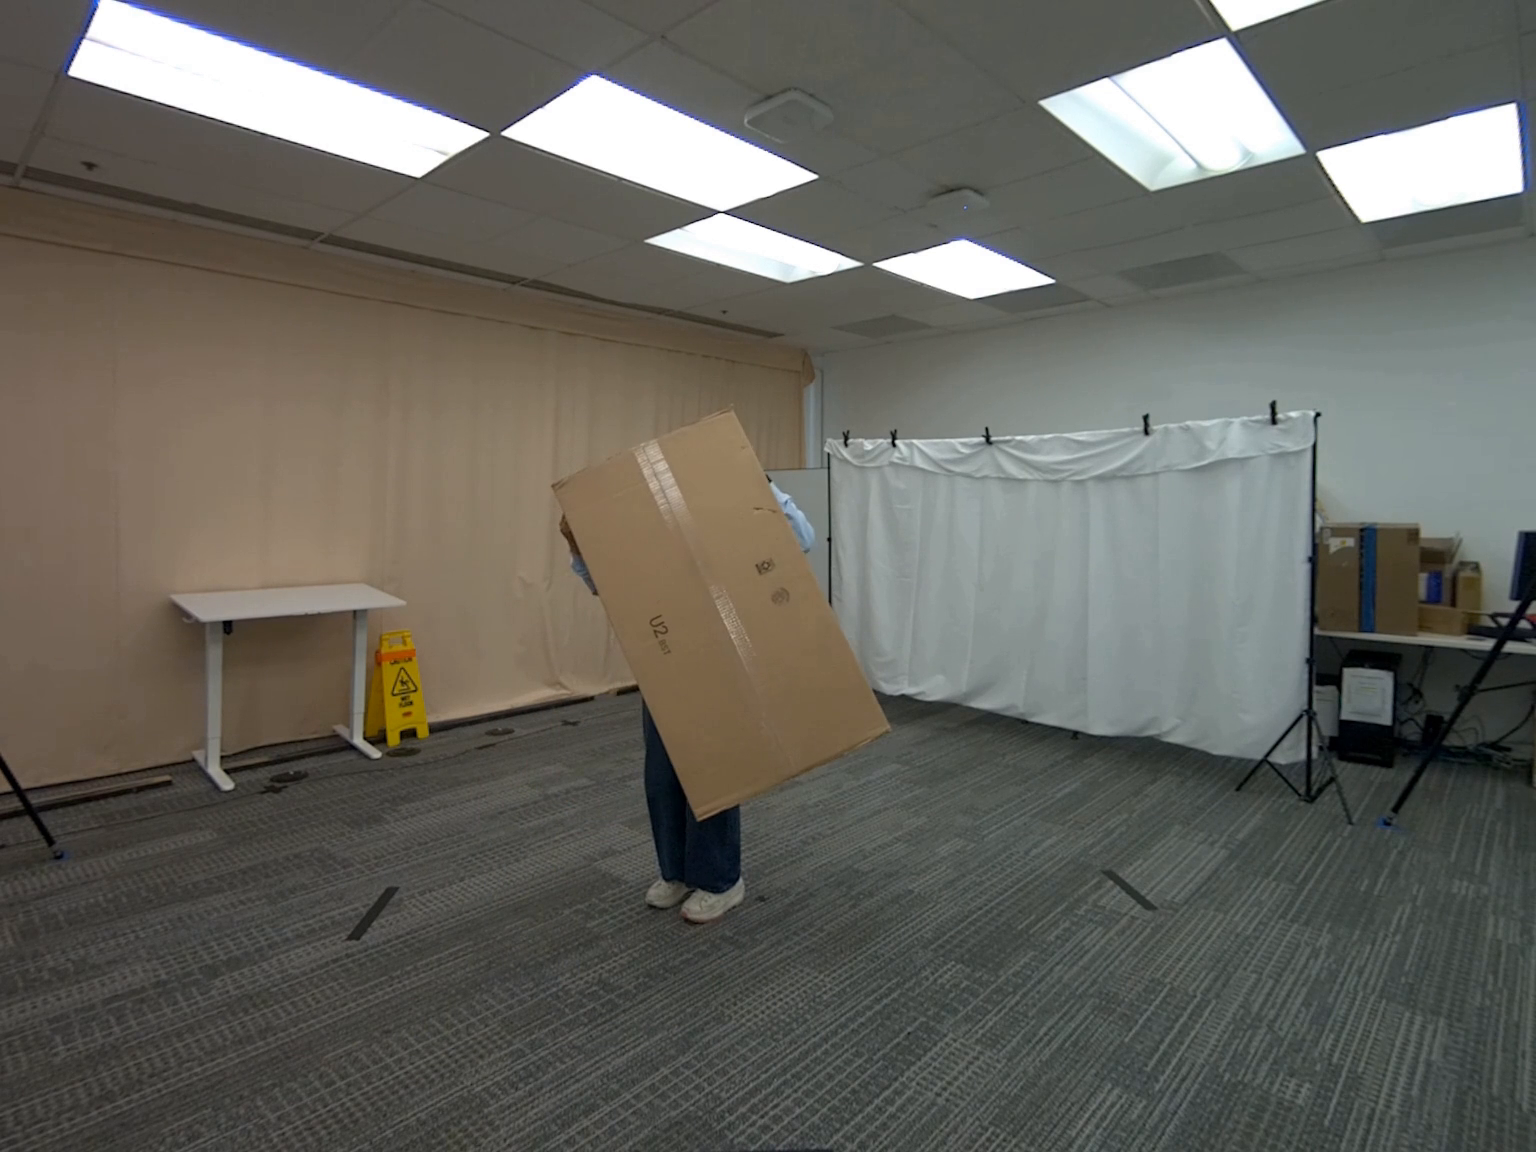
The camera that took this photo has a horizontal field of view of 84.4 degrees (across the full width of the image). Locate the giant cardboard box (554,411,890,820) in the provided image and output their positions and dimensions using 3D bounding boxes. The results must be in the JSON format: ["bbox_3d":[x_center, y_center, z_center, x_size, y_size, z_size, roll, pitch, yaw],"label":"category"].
[{"bbox_3d":[-0.157,0.119,2.526,0.582,1.040,0.442,-24,-12,-3],"label":"giant cardboard box"}]
